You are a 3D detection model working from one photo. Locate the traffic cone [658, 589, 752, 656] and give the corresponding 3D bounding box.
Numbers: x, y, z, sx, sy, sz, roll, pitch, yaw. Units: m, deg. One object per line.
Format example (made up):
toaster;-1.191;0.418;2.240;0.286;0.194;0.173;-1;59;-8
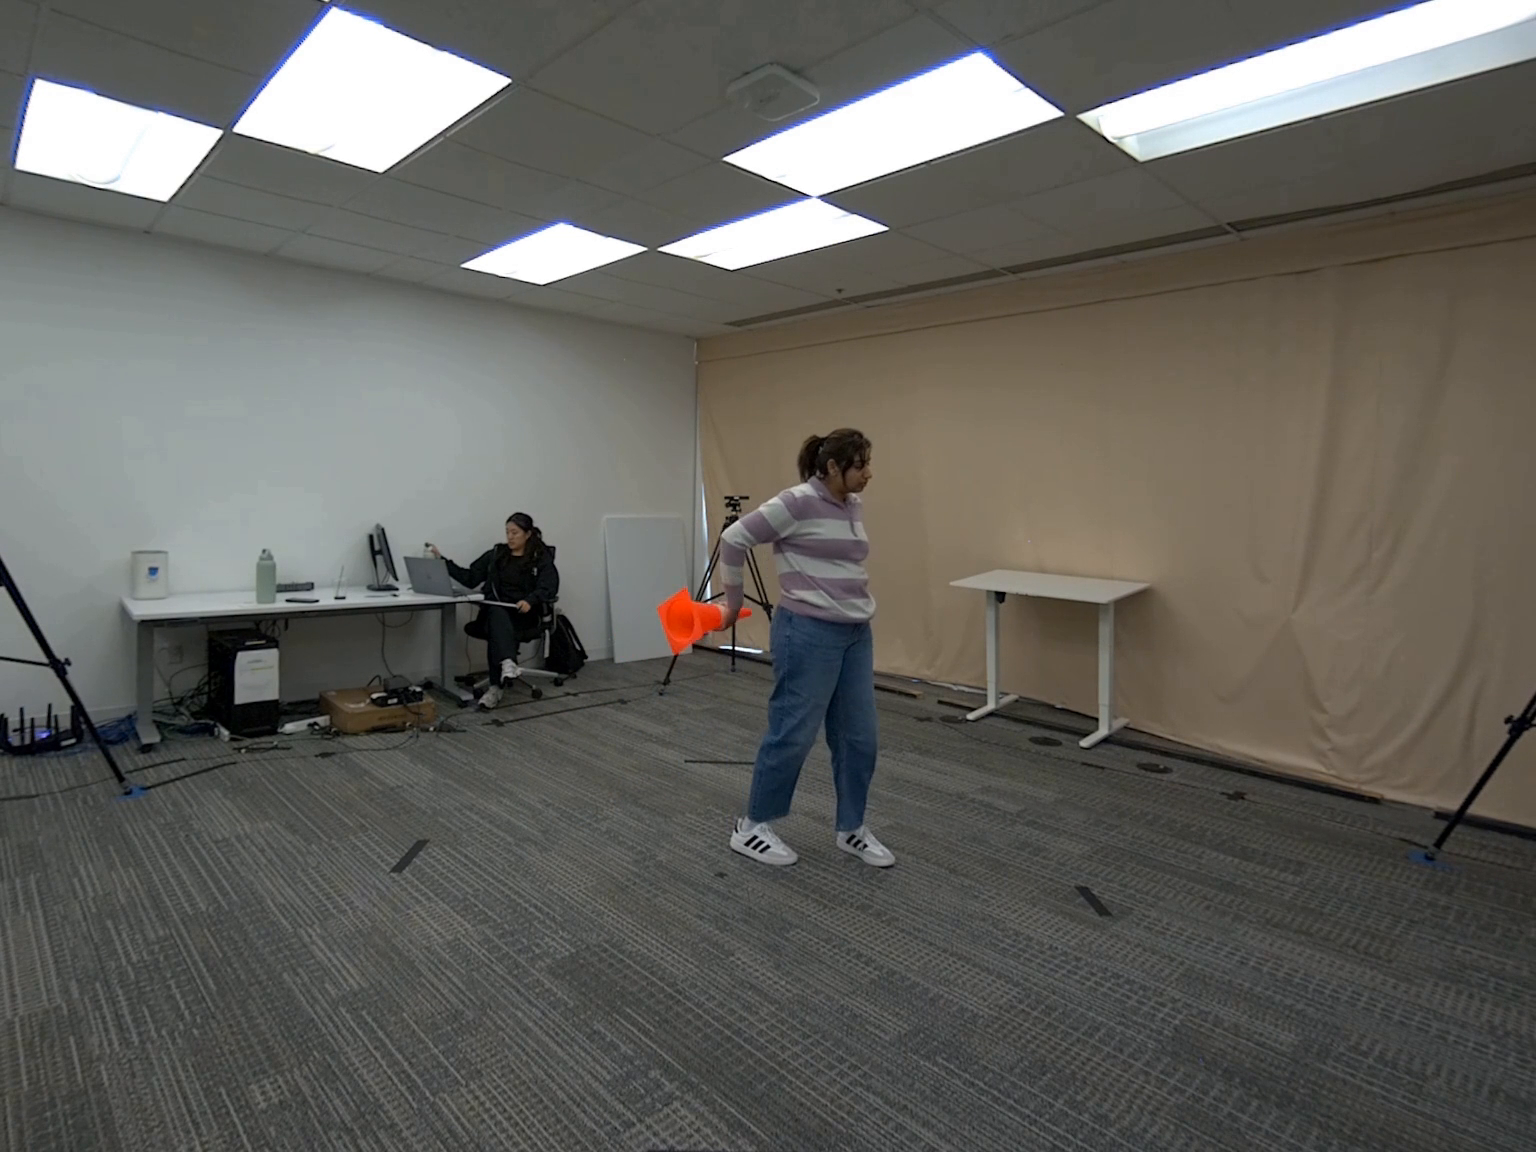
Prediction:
traffic cone;-0.207;0.156;3.269;0.375;0.208;0.204;-5;-24;-47
